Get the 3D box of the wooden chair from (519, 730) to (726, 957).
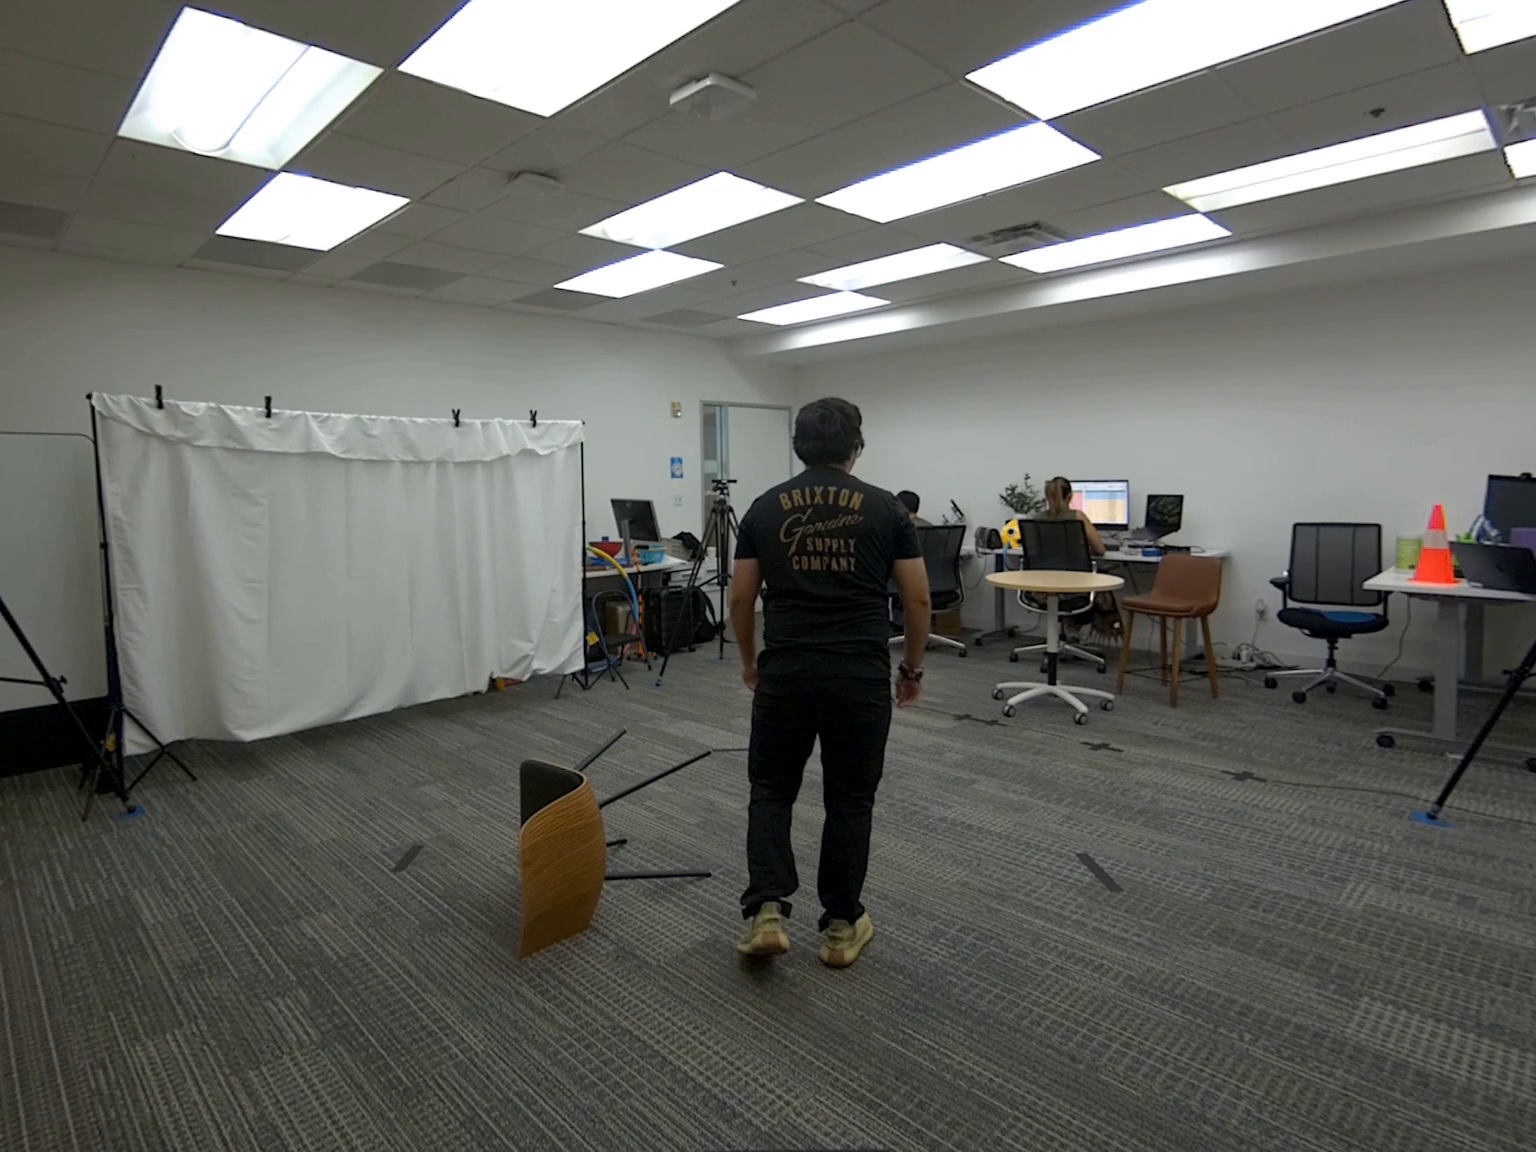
[{"bbox_3d":[-0.641,0.860,2.837,0.538,0.476,0.856,3,7,35],"label":"wooden chair"}]
